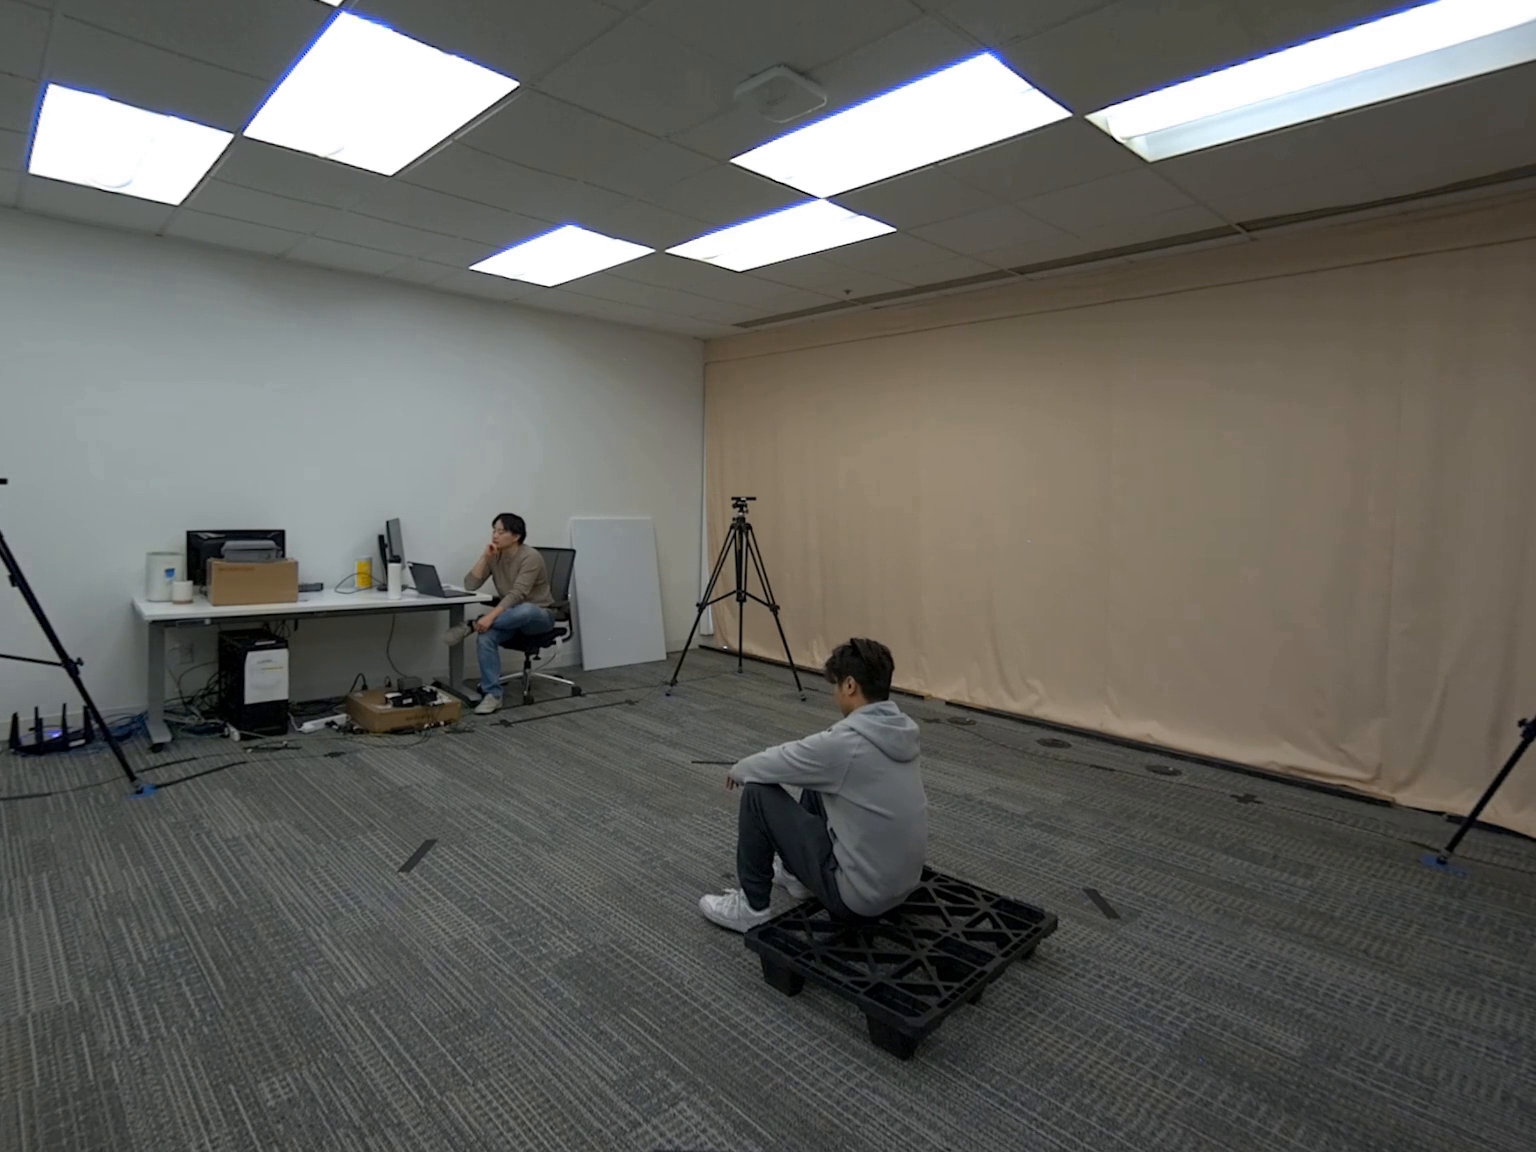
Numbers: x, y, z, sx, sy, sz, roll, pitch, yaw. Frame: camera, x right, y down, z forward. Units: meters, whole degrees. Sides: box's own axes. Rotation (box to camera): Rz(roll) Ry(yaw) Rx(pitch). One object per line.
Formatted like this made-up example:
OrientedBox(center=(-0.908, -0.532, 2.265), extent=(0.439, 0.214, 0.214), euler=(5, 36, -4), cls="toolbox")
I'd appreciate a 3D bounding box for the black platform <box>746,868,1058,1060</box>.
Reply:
OrientedBox(center=(0.399, 1.109, 2.517), extent=(0.620, 0.143, 0.787), euler=(6, 7, 43), cls="black platform")
